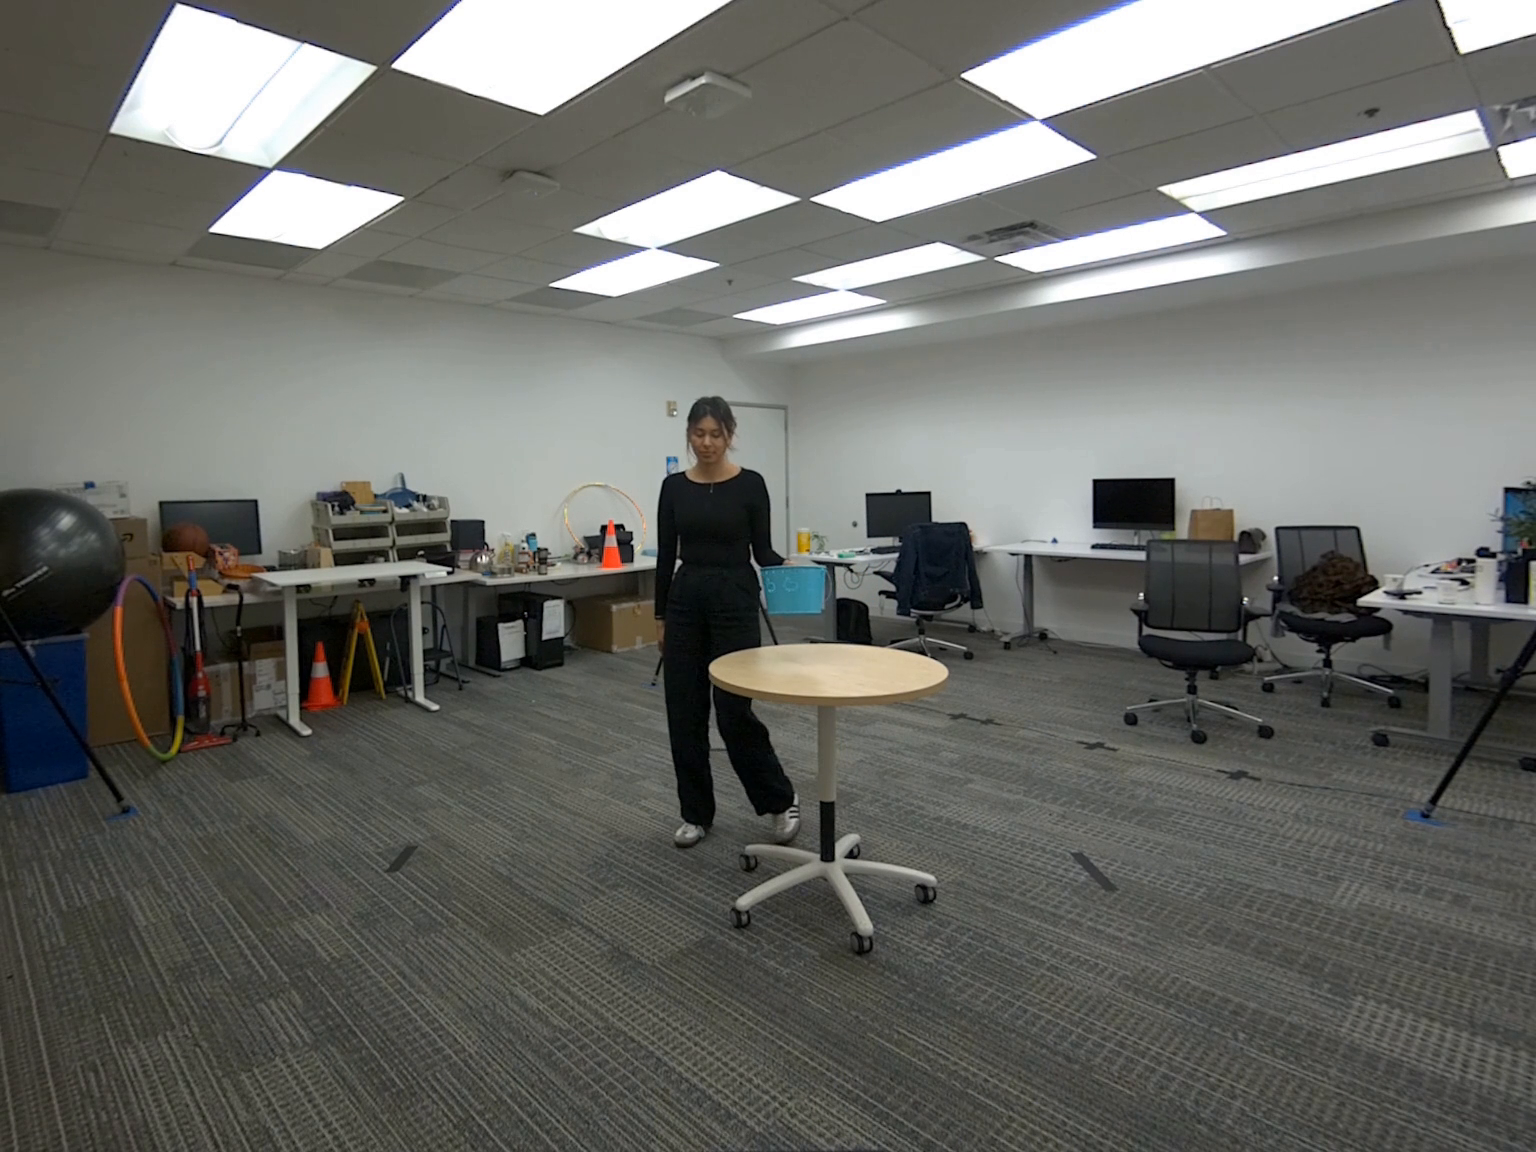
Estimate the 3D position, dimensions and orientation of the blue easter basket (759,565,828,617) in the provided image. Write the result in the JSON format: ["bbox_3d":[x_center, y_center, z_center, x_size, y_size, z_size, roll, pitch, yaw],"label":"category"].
[{"bbox_3d":[0.095,0.049,2.897,0.243,0.156,0.243,0,-3,-2],"label":"blue easter basket"}]
